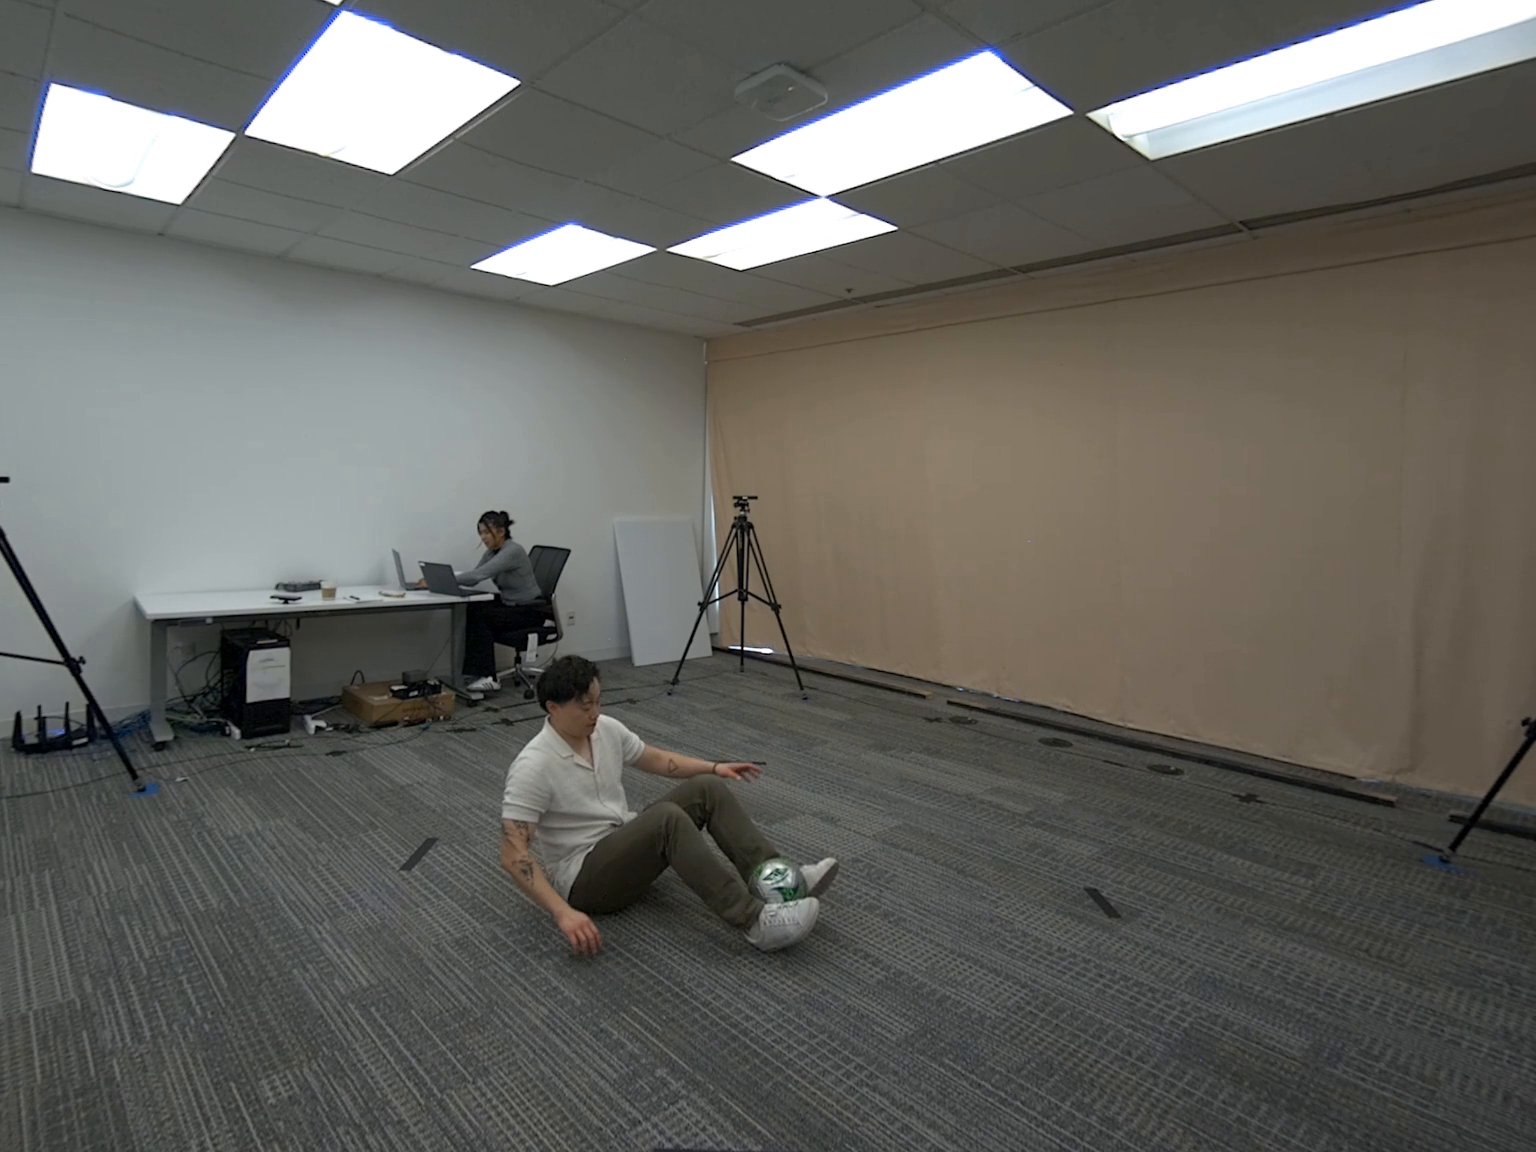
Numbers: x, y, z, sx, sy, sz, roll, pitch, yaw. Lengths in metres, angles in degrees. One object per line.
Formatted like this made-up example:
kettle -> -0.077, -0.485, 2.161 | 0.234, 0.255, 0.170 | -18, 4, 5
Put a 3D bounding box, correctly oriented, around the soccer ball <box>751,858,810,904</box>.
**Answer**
soccer ball -> 0.016, 0.992, 2.646 | 0.187, 0.187, 0.188 | 1, 4, -1
